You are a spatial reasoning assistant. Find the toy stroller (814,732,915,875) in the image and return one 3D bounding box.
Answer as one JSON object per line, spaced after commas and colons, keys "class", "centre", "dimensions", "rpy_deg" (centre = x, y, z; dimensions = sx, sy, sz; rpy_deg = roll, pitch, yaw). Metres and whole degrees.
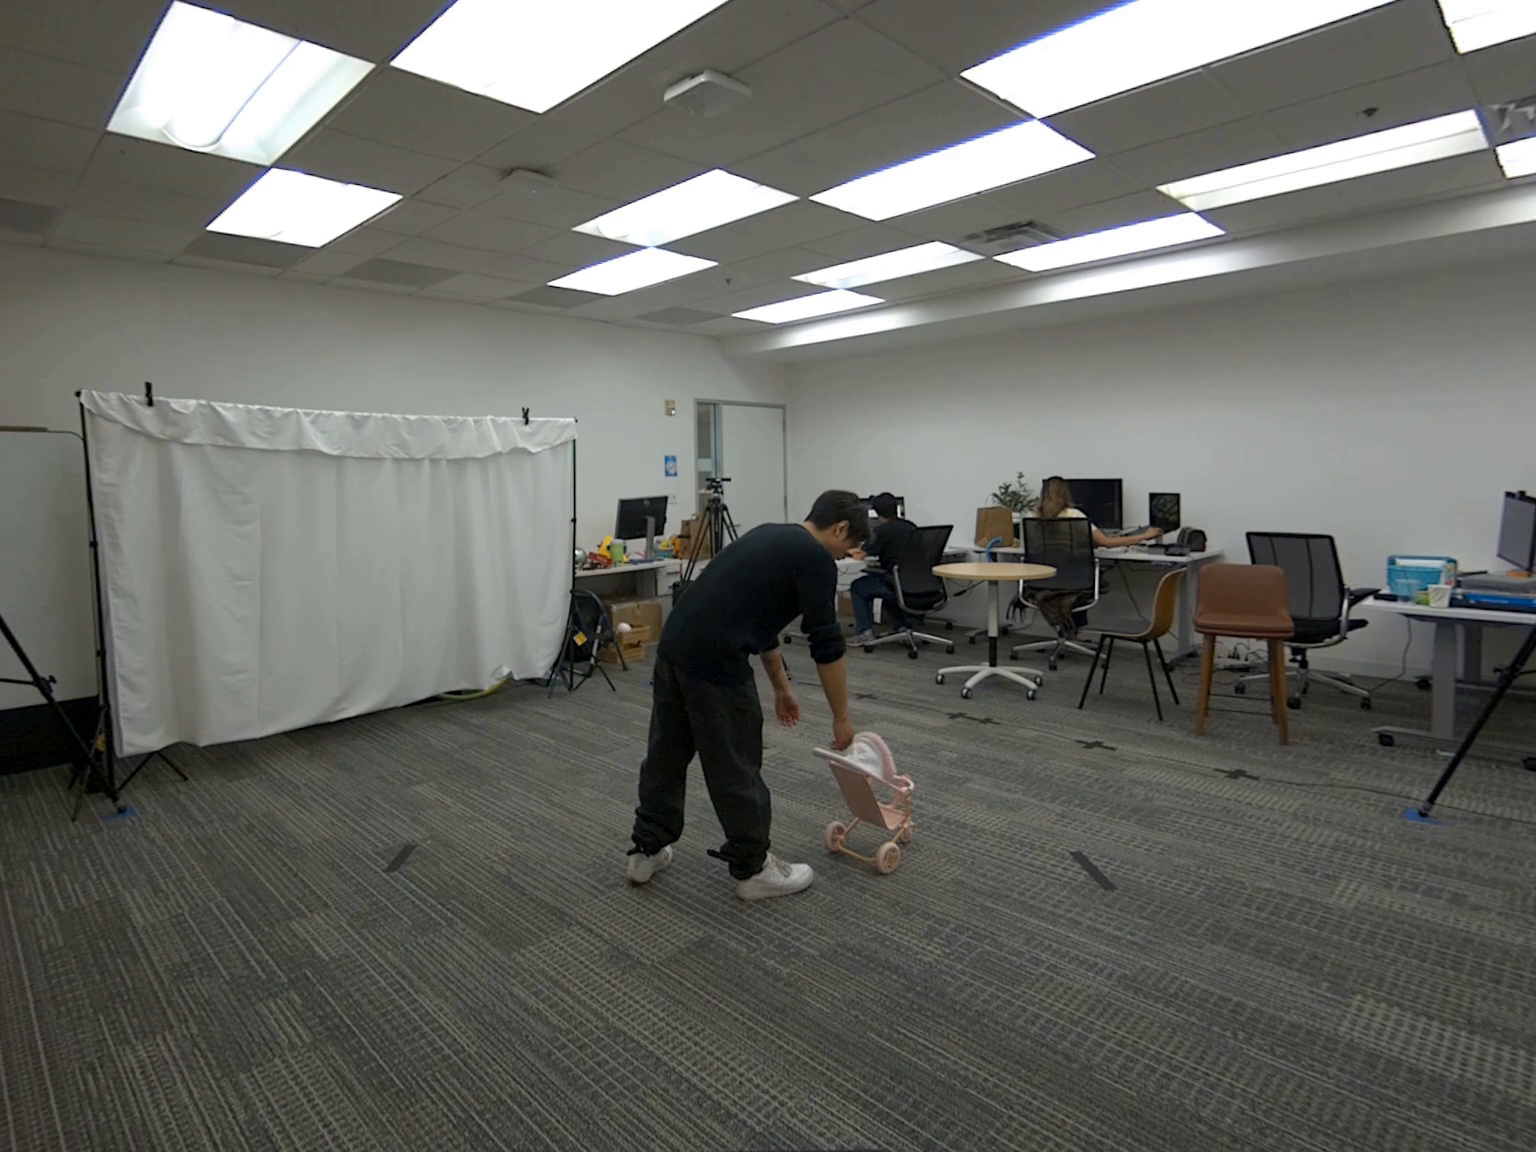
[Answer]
{"class": "toy stroller", "centre": [0.384, 0.808, 3.126], "dimensions": [0.336, 0.527, 0.290], "rpy_deg": [-22, 16, -34]}
